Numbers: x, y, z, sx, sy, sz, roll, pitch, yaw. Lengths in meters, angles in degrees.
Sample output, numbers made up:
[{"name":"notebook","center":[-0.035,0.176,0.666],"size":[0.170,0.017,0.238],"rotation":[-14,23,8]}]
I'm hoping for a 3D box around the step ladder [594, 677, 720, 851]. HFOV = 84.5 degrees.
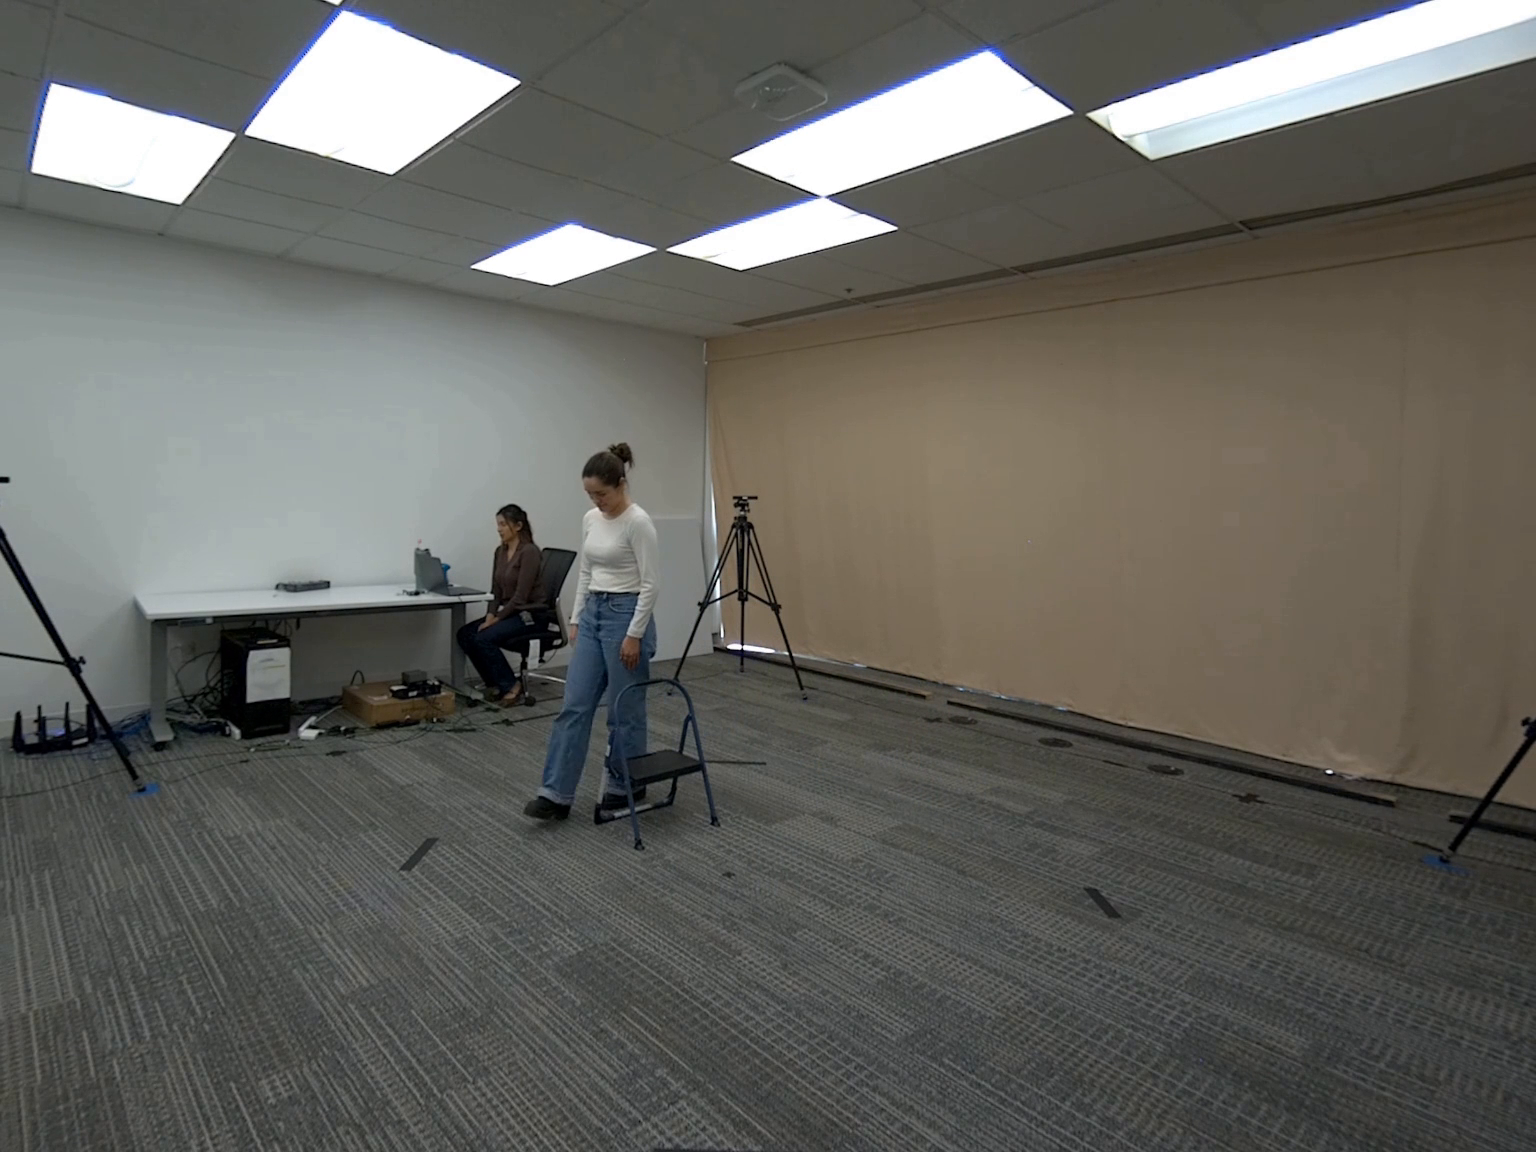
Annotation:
[{"name":"step ladder","center":[-0.471,0.755,3.549],"size":[0.421,0.605,0.358],"rotation":[-2,4,-43]}]
